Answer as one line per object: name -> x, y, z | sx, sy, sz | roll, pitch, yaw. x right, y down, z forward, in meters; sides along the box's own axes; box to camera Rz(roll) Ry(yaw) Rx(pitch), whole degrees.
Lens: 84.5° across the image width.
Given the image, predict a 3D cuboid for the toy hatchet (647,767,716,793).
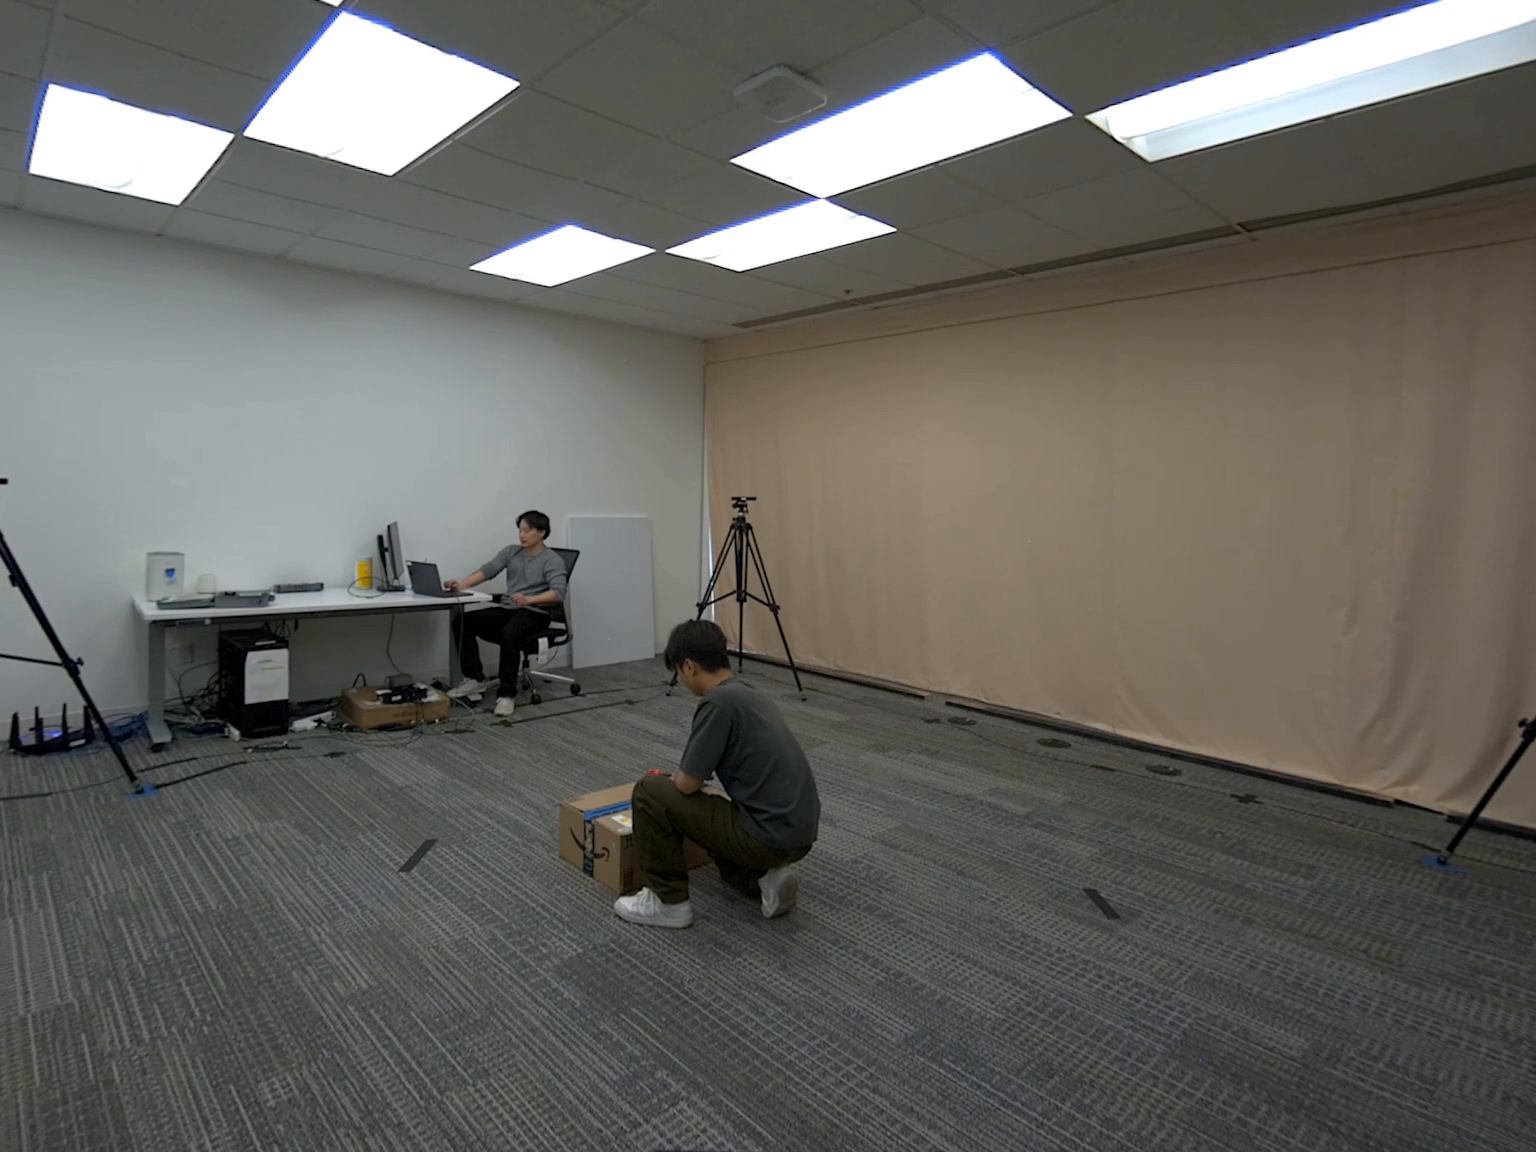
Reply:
toy hatchet -> -0.359, 0.831, 3.454 | 0.269, 0.030, 0.129 | 10, -29, -4
